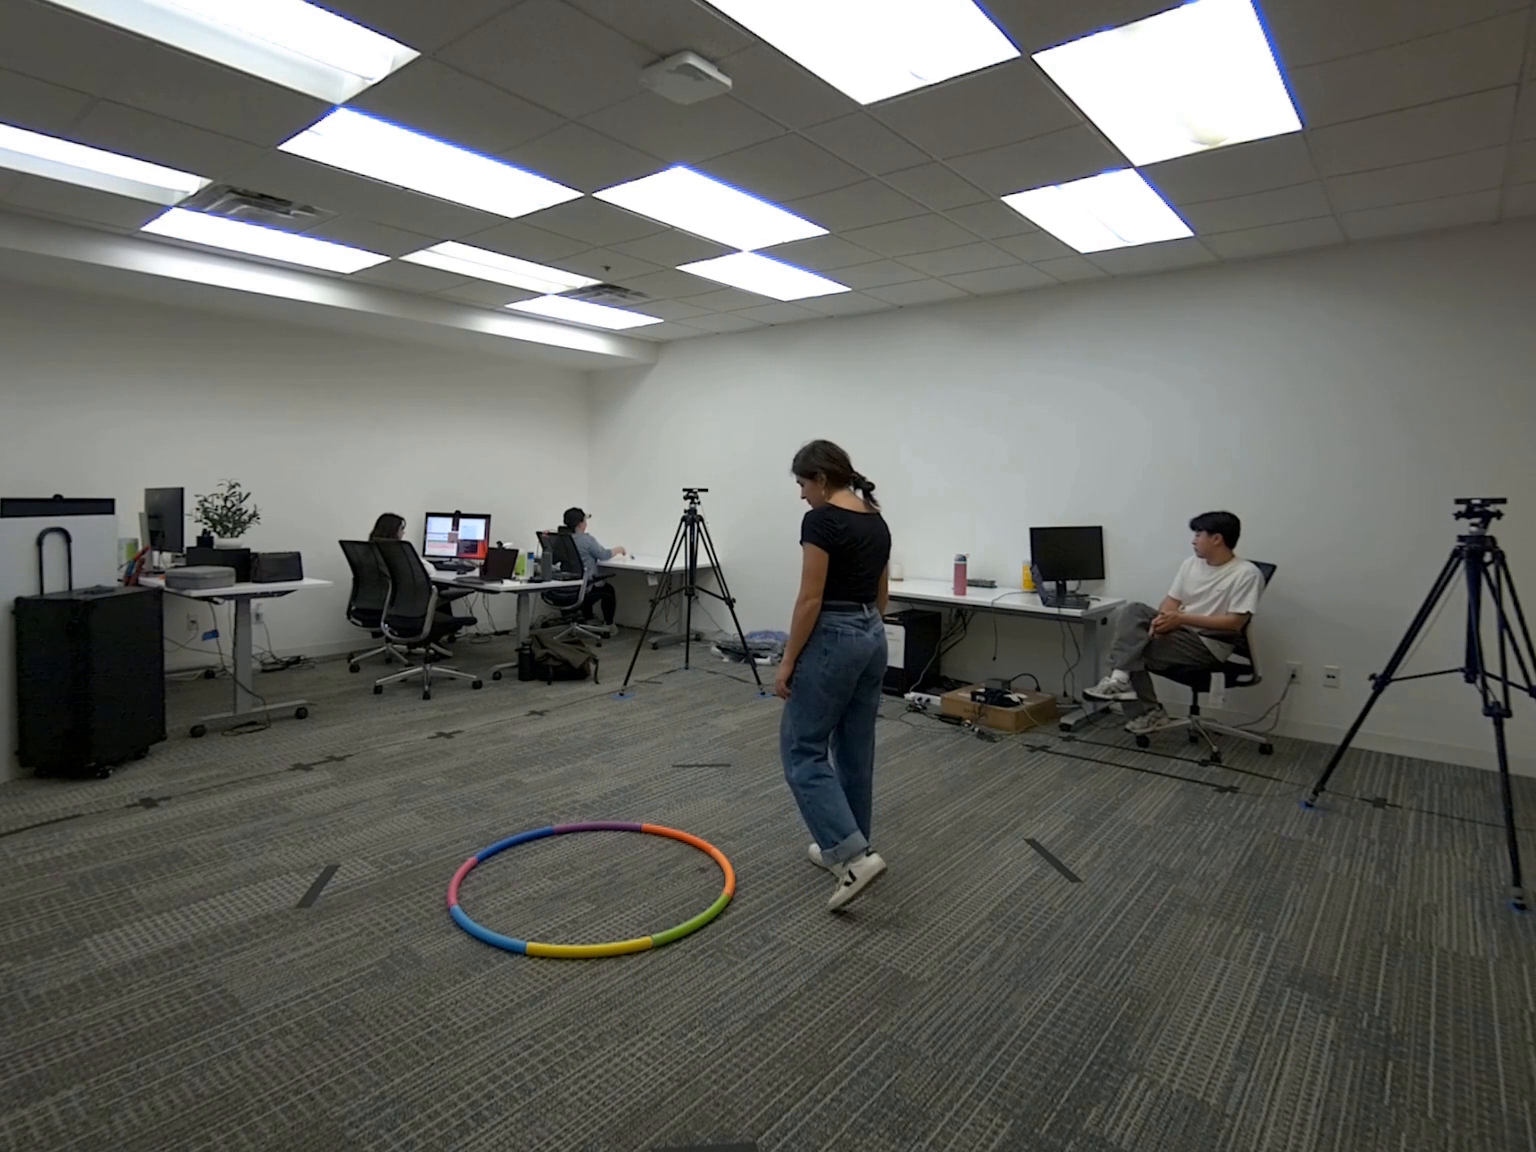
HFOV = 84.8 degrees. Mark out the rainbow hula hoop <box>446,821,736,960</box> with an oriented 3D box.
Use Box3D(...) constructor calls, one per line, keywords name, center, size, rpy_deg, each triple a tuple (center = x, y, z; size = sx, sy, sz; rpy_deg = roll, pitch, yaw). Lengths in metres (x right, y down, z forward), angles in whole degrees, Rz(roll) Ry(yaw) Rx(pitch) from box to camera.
Box3D(name="rainbow hula hoop", center=(-0.604, 1.042, 2.984), size=(0.978, 0.035, 0.984), rpy_deg=(1, 6, -2))
